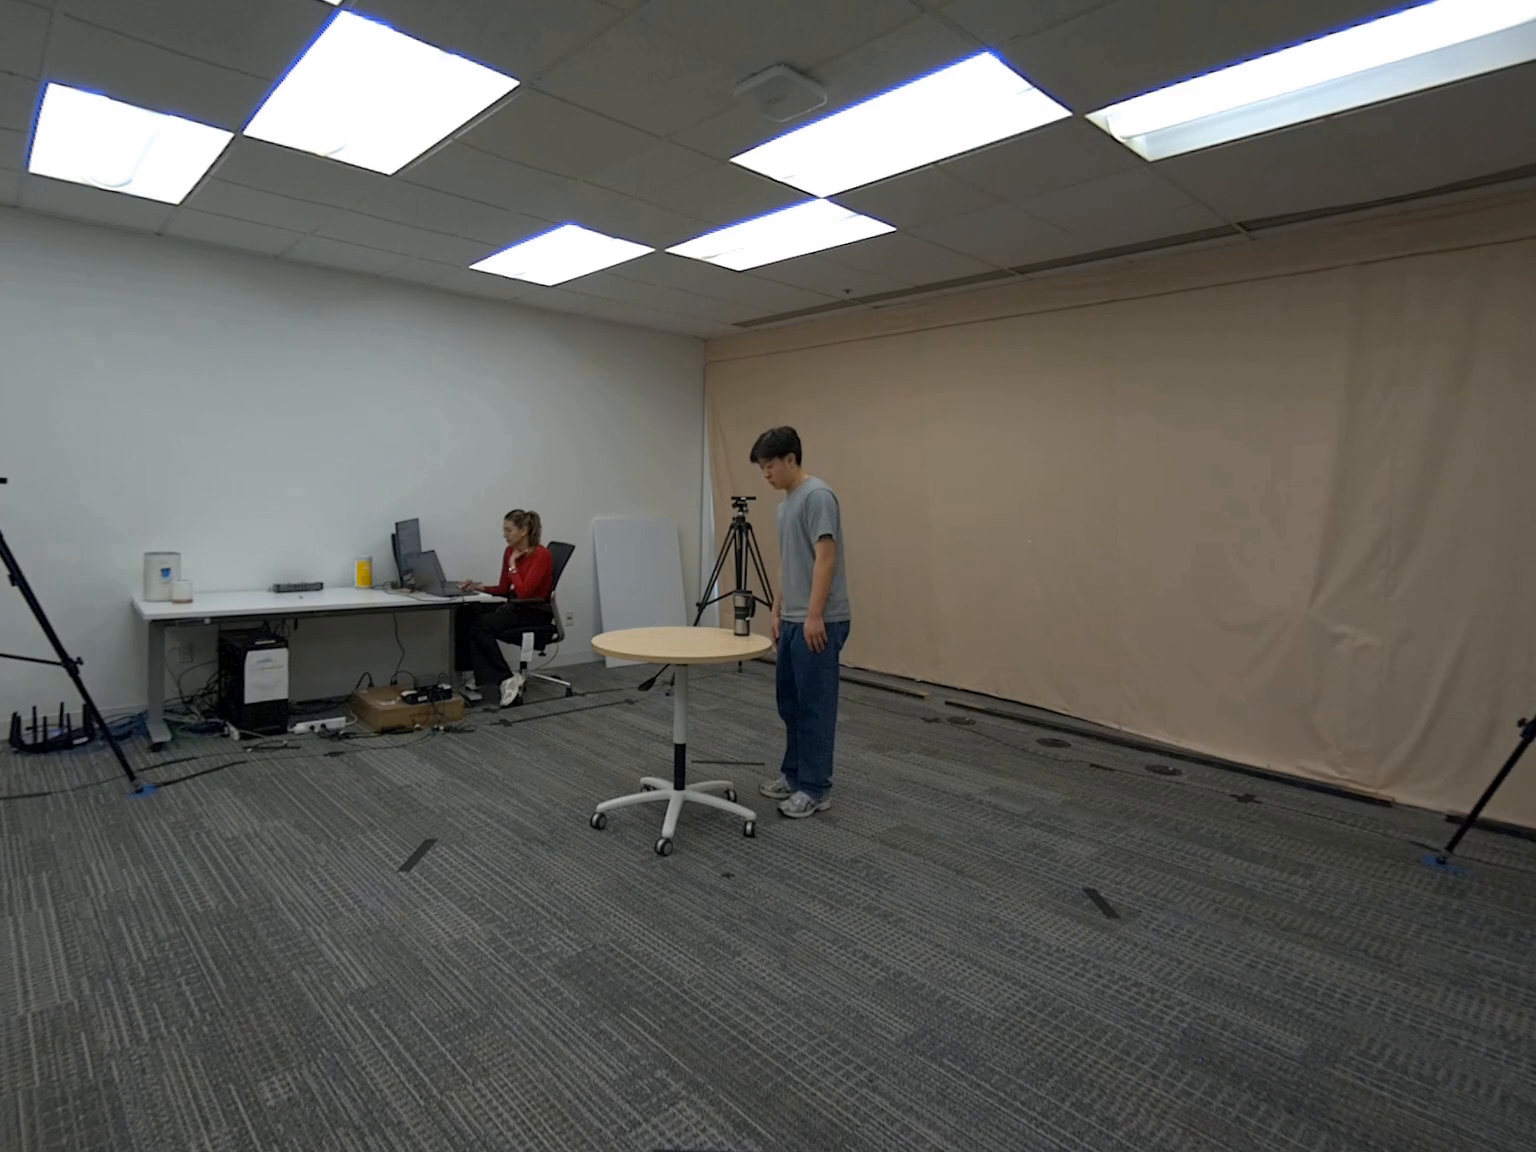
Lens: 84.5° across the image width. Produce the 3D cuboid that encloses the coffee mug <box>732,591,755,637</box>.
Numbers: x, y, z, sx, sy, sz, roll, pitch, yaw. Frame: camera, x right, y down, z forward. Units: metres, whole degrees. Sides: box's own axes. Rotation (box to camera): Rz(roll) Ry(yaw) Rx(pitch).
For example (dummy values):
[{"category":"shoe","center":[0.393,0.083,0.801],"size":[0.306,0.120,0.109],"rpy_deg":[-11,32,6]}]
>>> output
[{"category":"coffee mug","center":[-0.113,0.166,3.733],"size":[0.086,0.203,0.123],"rpy_deg":[4,-4,-19]}]
